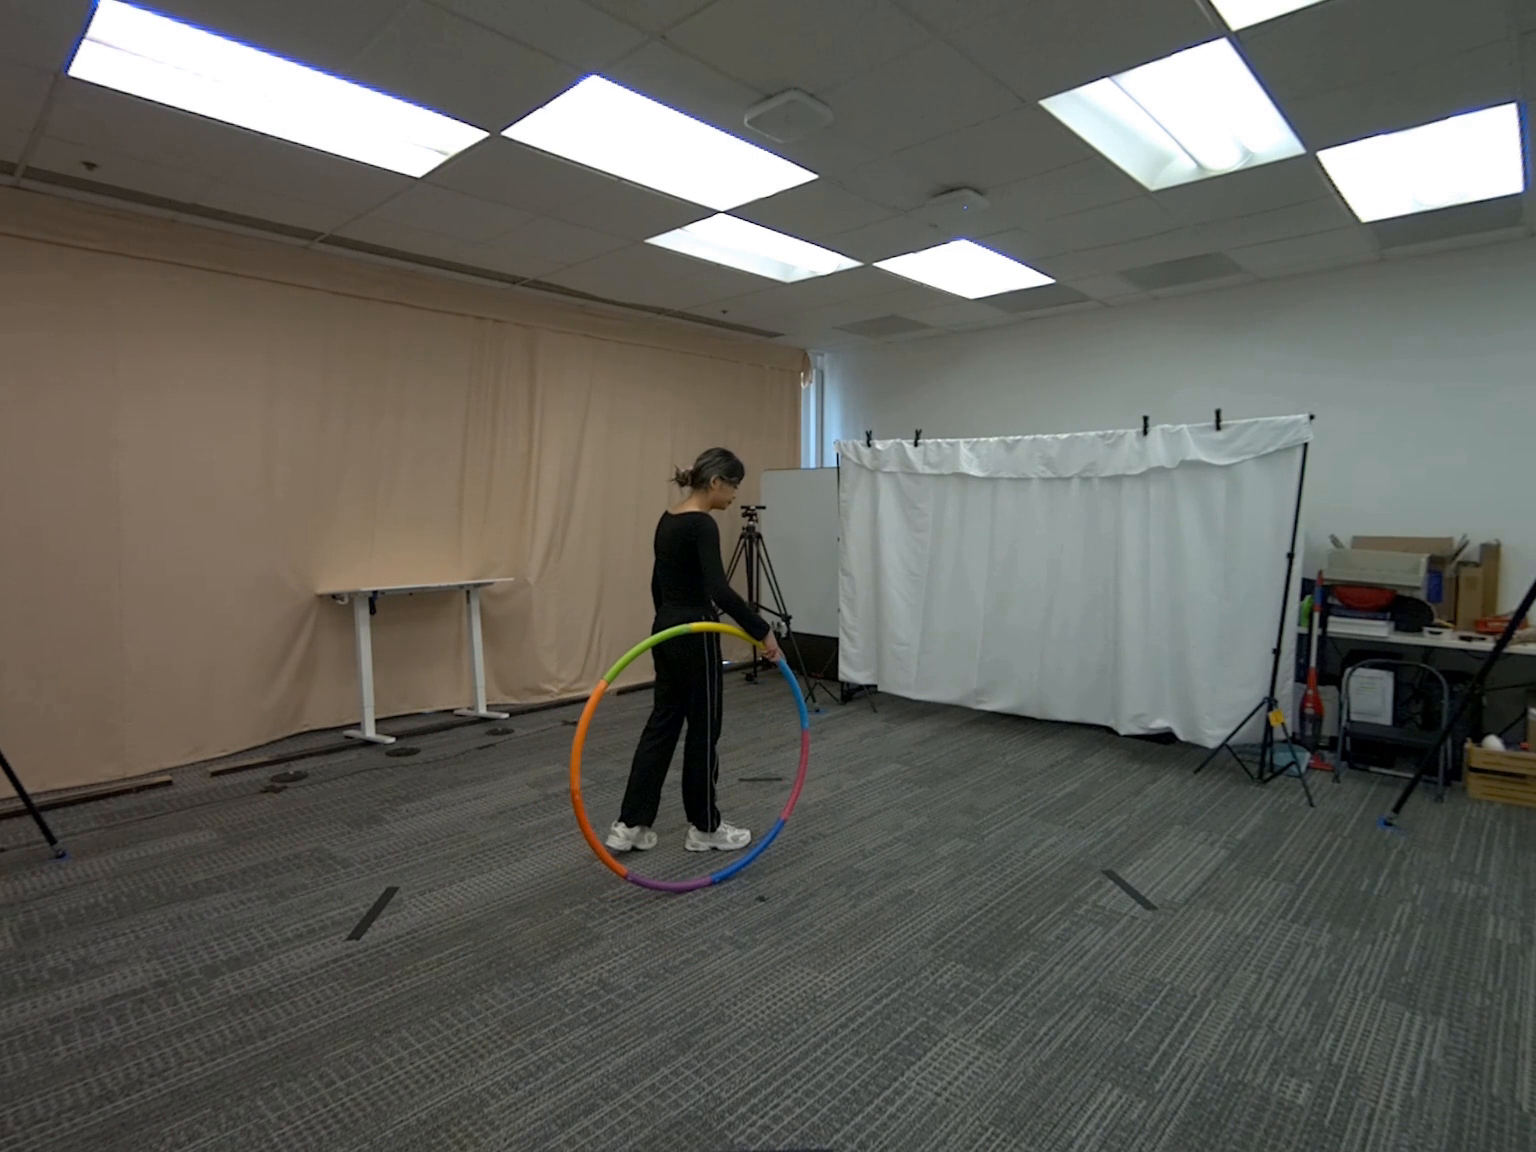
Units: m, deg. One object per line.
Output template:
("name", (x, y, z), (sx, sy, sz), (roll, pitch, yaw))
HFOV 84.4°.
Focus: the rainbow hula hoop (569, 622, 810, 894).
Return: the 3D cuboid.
("rainbow hula hoop", (-0.248, 0.655, 3.074), (0.951, 0.977, 0.036), (-2, 2, -32))
